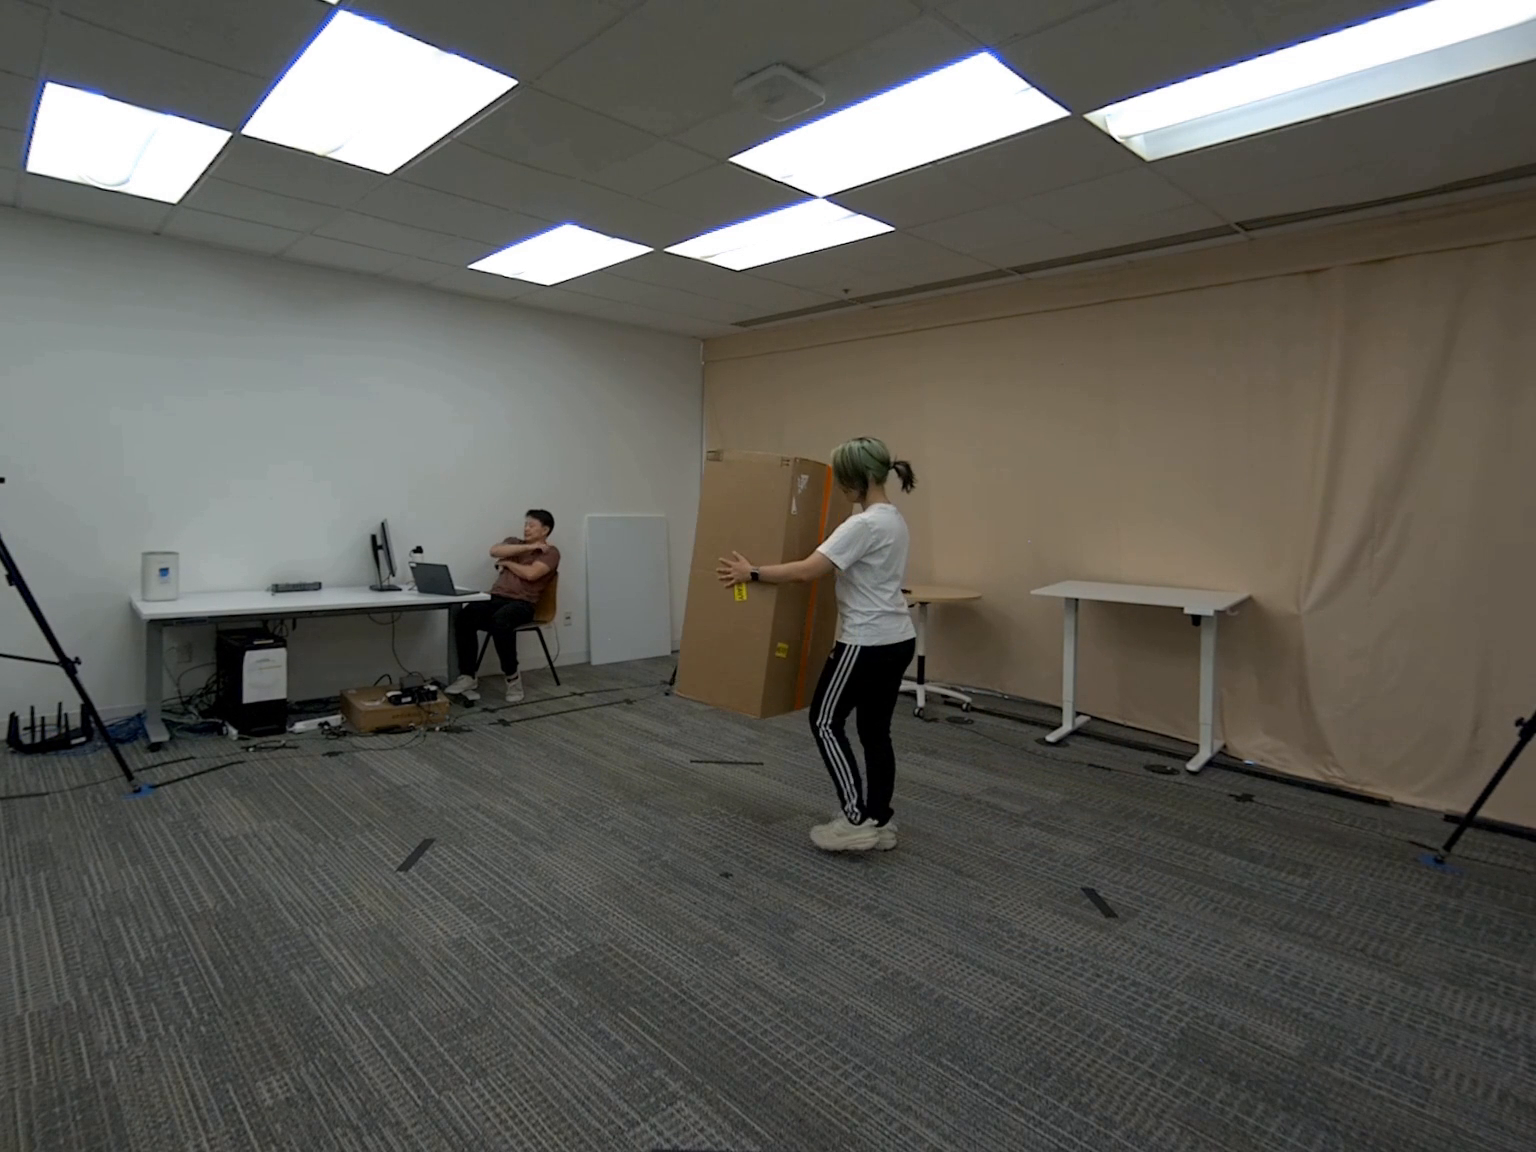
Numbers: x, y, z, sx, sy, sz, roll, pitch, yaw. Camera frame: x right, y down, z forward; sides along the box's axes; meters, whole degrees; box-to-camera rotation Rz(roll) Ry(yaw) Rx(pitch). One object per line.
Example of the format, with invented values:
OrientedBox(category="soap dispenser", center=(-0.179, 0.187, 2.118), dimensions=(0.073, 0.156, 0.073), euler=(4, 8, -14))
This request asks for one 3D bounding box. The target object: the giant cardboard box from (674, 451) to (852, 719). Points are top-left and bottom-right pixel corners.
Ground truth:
OrientedBox(category="giant cardboard box", center=(-0.002, 0.022, 3.566), dimensions=(0.457, 1.025, 0.571), euler=(9, 3, 30))
